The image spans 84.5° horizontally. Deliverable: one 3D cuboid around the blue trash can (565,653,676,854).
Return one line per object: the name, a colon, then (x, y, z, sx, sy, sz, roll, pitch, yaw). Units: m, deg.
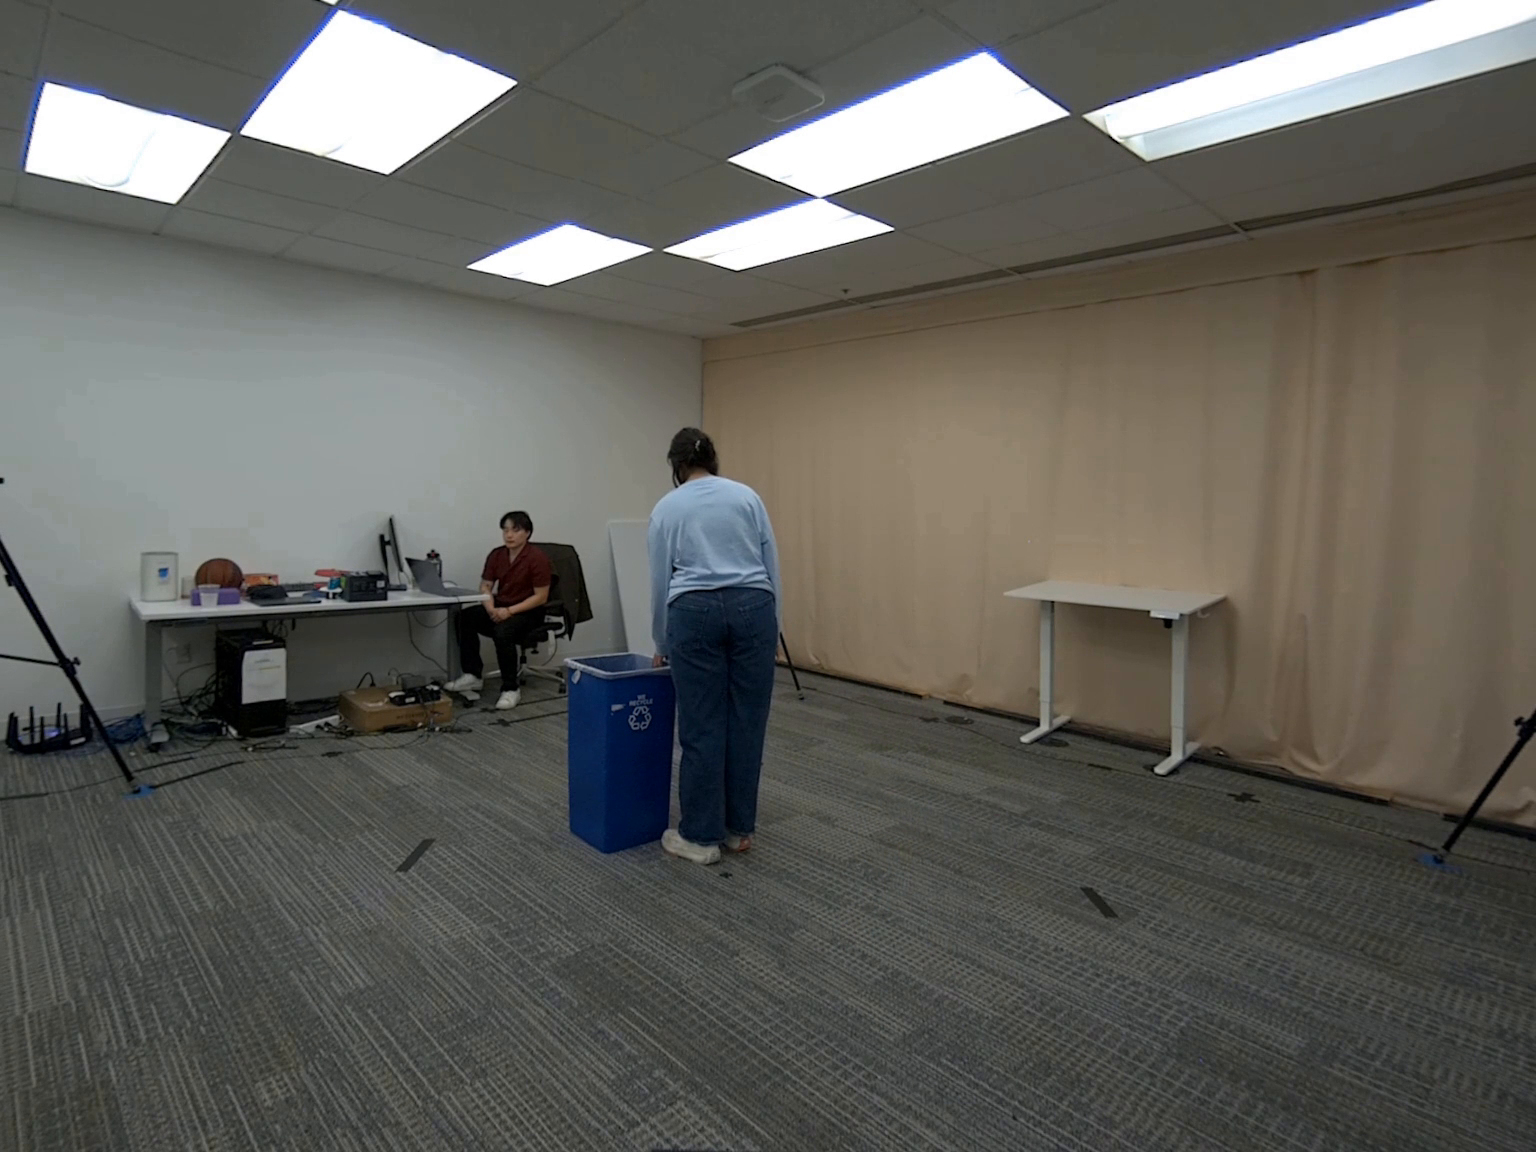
blue trash can: (-0.607, 0.704, 3.455, 0.365, 0.712, 0.388, -1, 5, -41)
